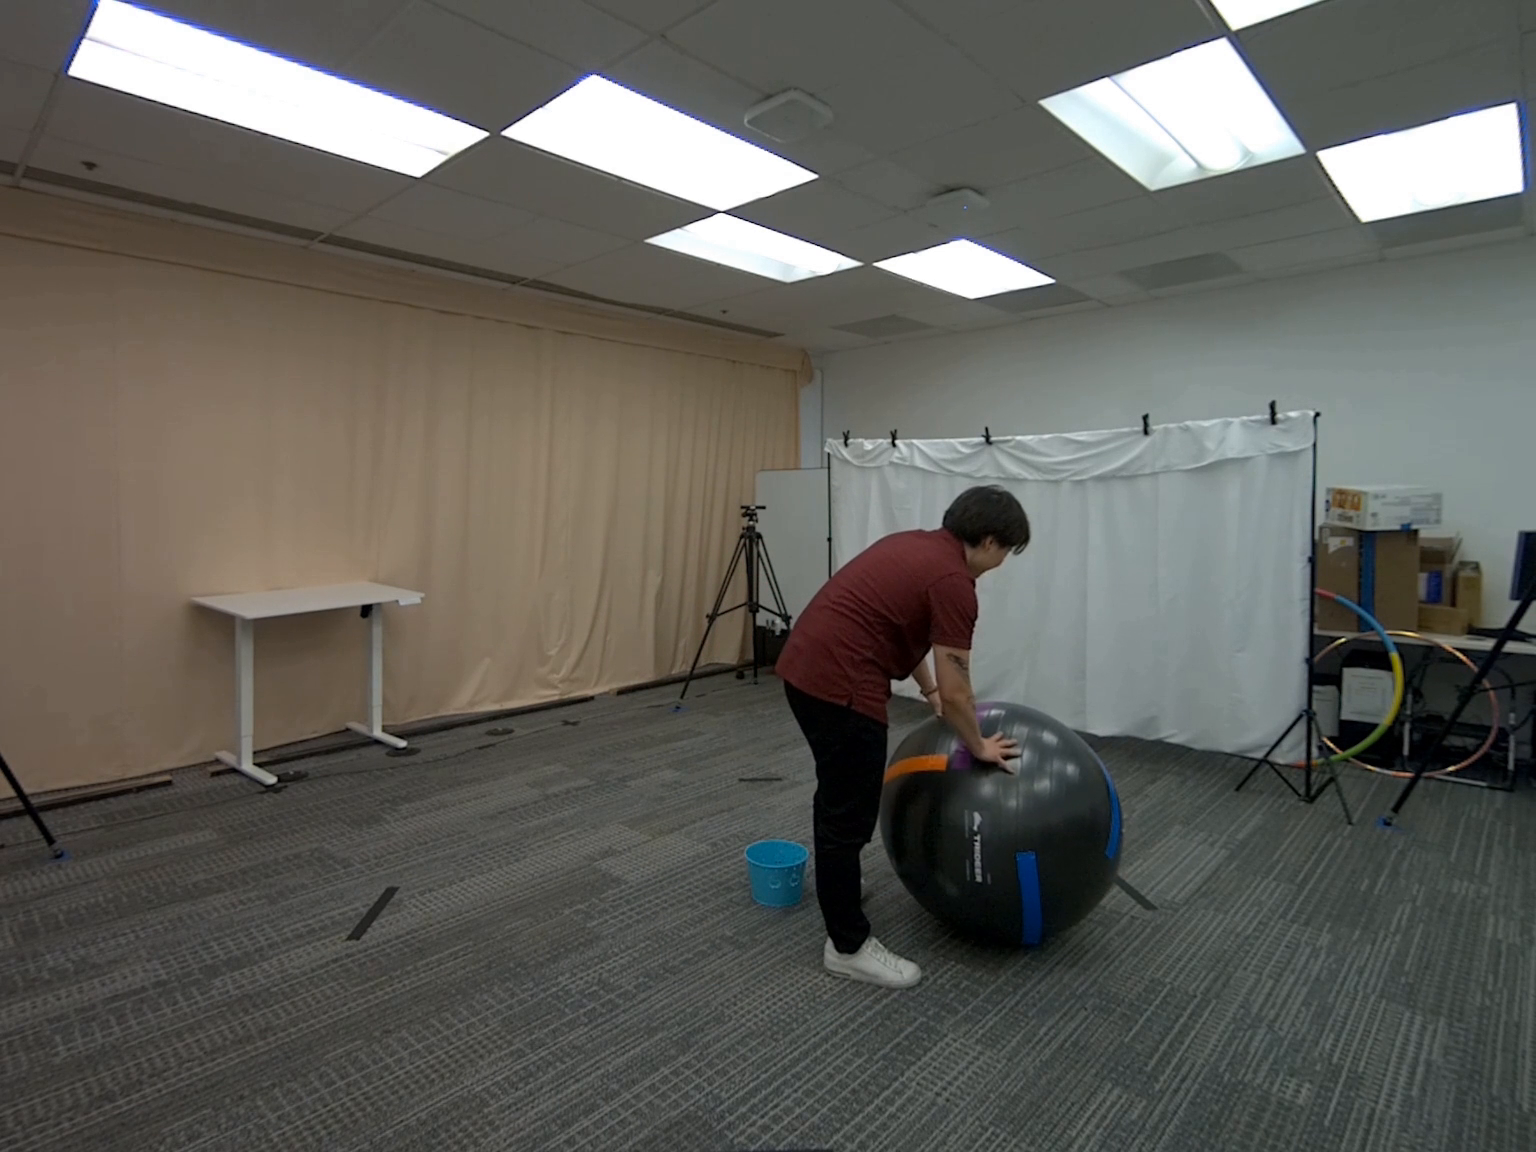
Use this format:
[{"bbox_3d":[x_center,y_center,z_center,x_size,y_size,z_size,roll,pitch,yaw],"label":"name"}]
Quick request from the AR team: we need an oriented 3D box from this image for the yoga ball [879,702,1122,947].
[{"bbox_3d":[0.769,0.802,2.770,0.757,0.756,0.760,0,4,-2],"label":"yoga ball"}]
